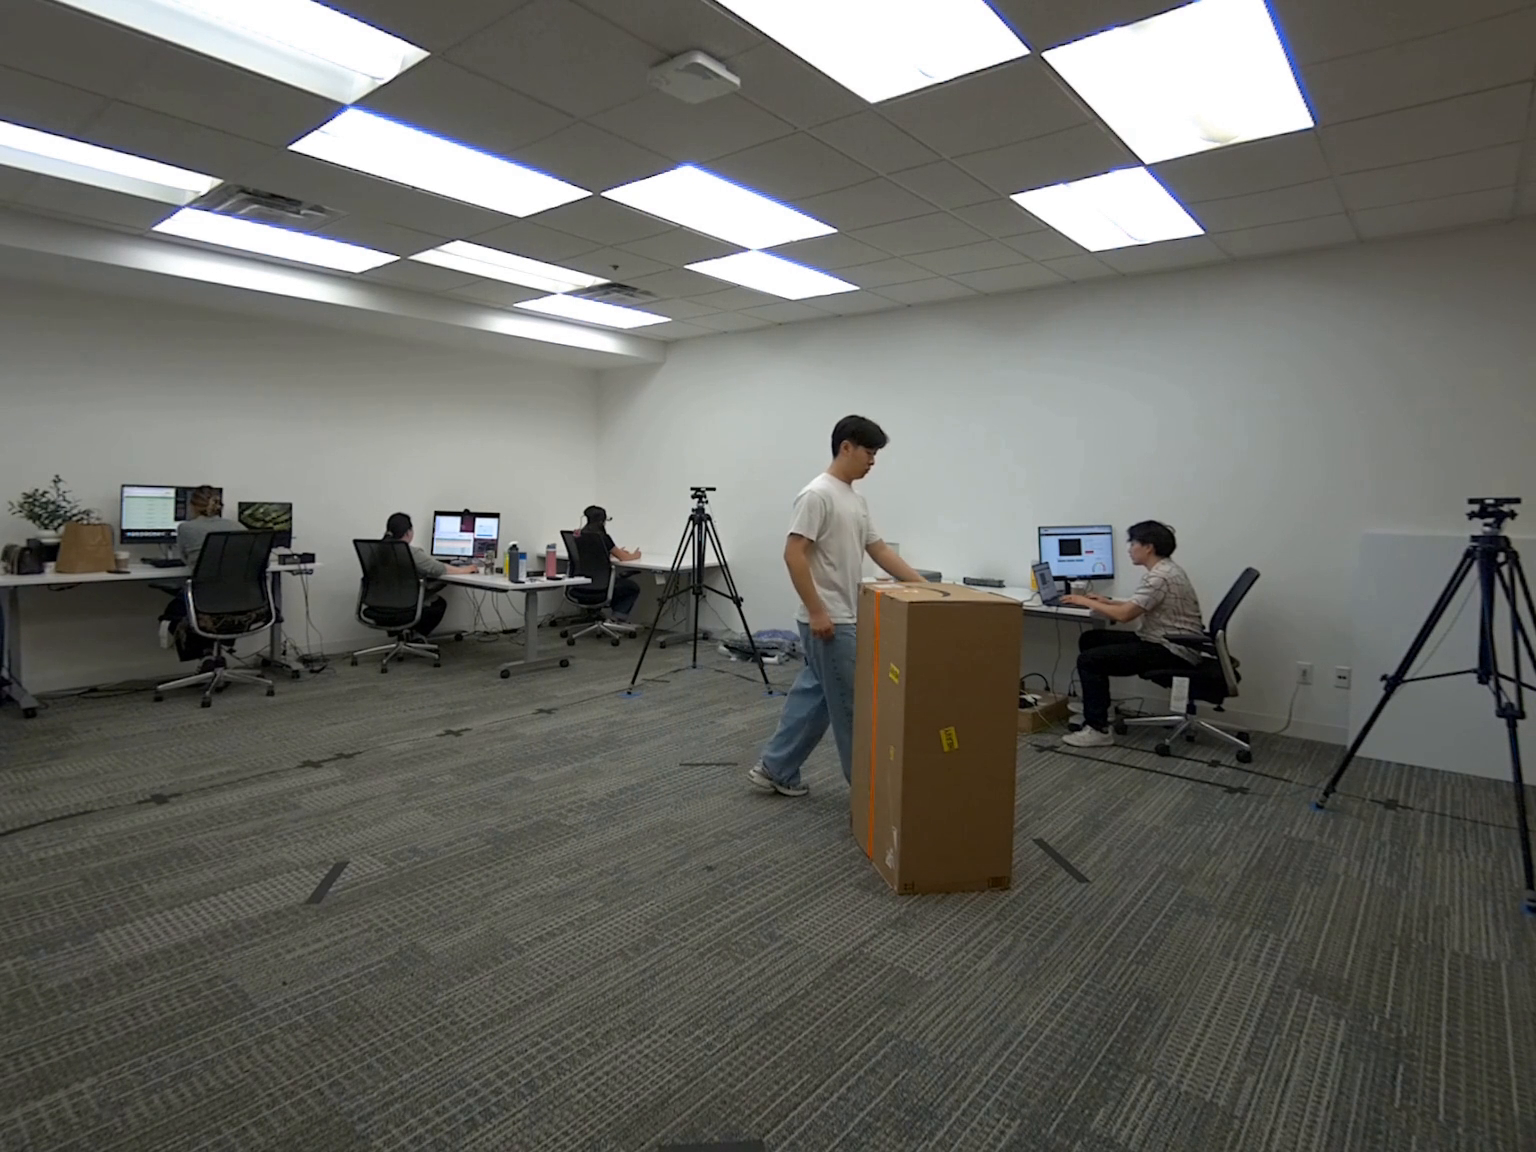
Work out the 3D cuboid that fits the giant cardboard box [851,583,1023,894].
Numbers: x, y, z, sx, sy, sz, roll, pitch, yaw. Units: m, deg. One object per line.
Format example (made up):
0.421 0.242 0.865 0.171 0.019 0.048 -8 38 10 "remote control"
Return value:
0.606 0.563 3.225 0.422 1.023 0.586 1 4 -11 "giant cardboard box"
